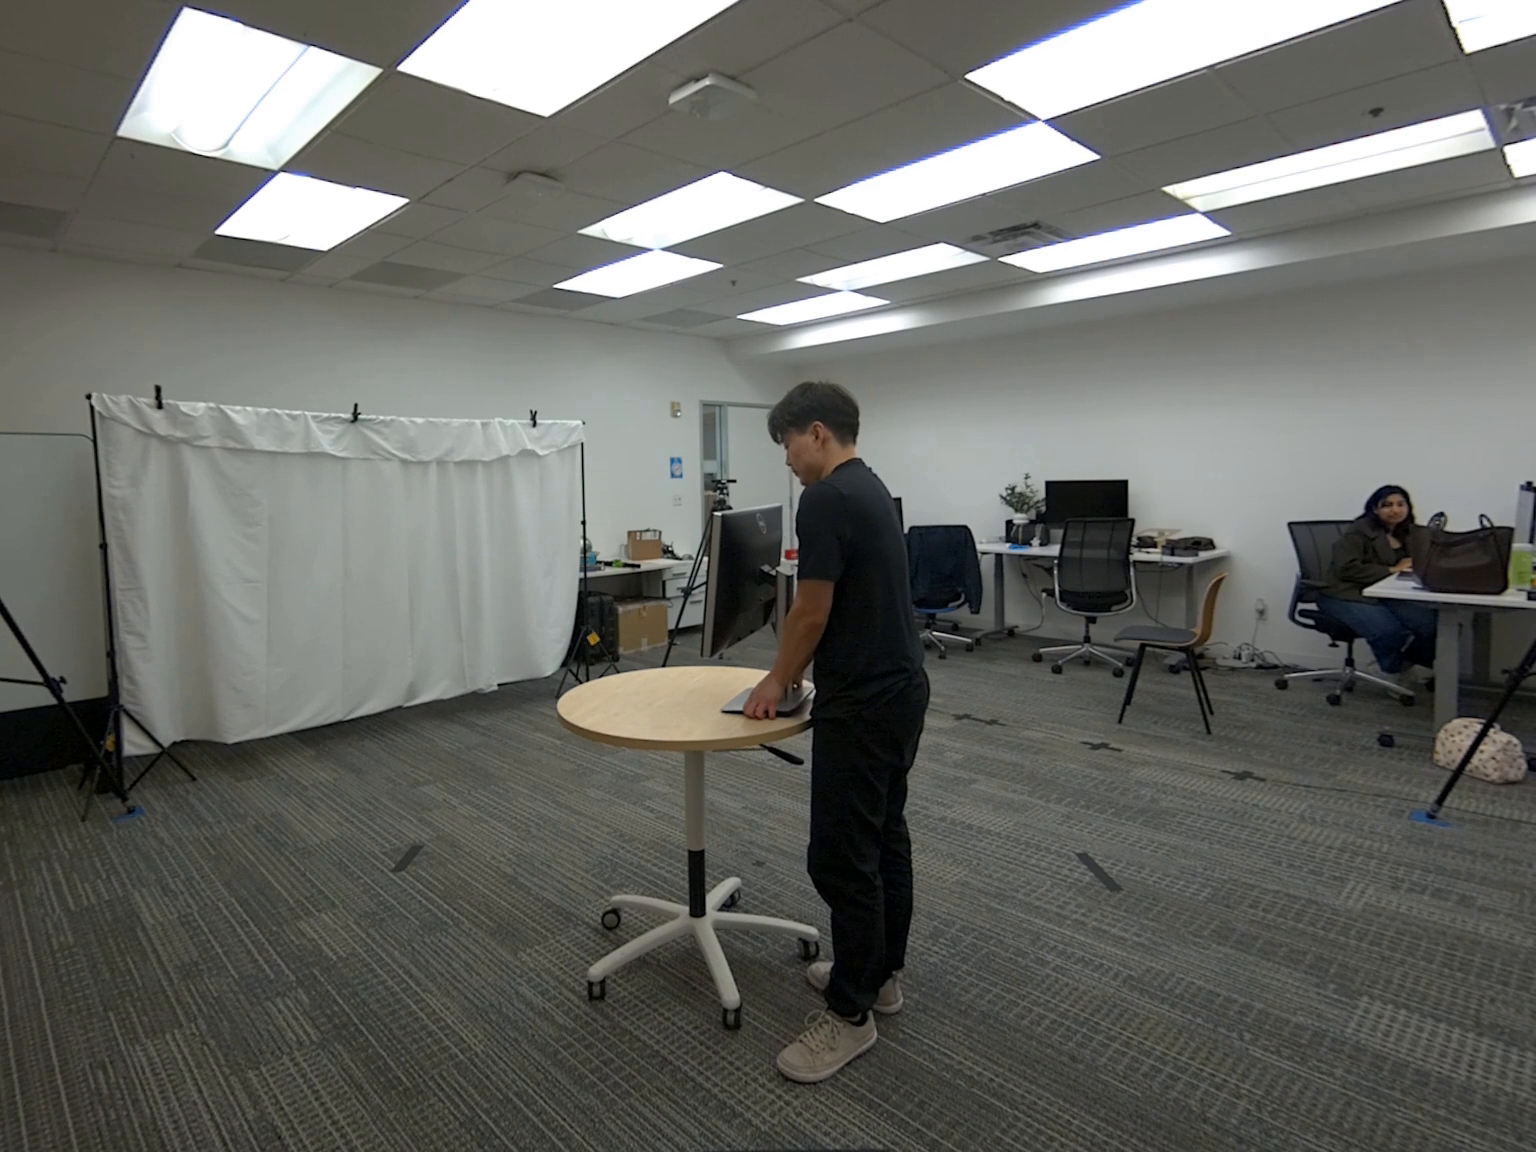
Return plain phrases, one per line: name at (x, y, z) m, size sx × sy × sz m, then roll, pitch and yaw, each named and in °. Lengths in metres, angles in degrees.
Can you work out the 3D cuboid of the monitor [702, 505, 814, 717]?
monitor at (-0.016, 0.079, 2.353) m, size 0.190 × 0.521 × 0.533 m, roll -5°, pitch 4°, yaw 16°
